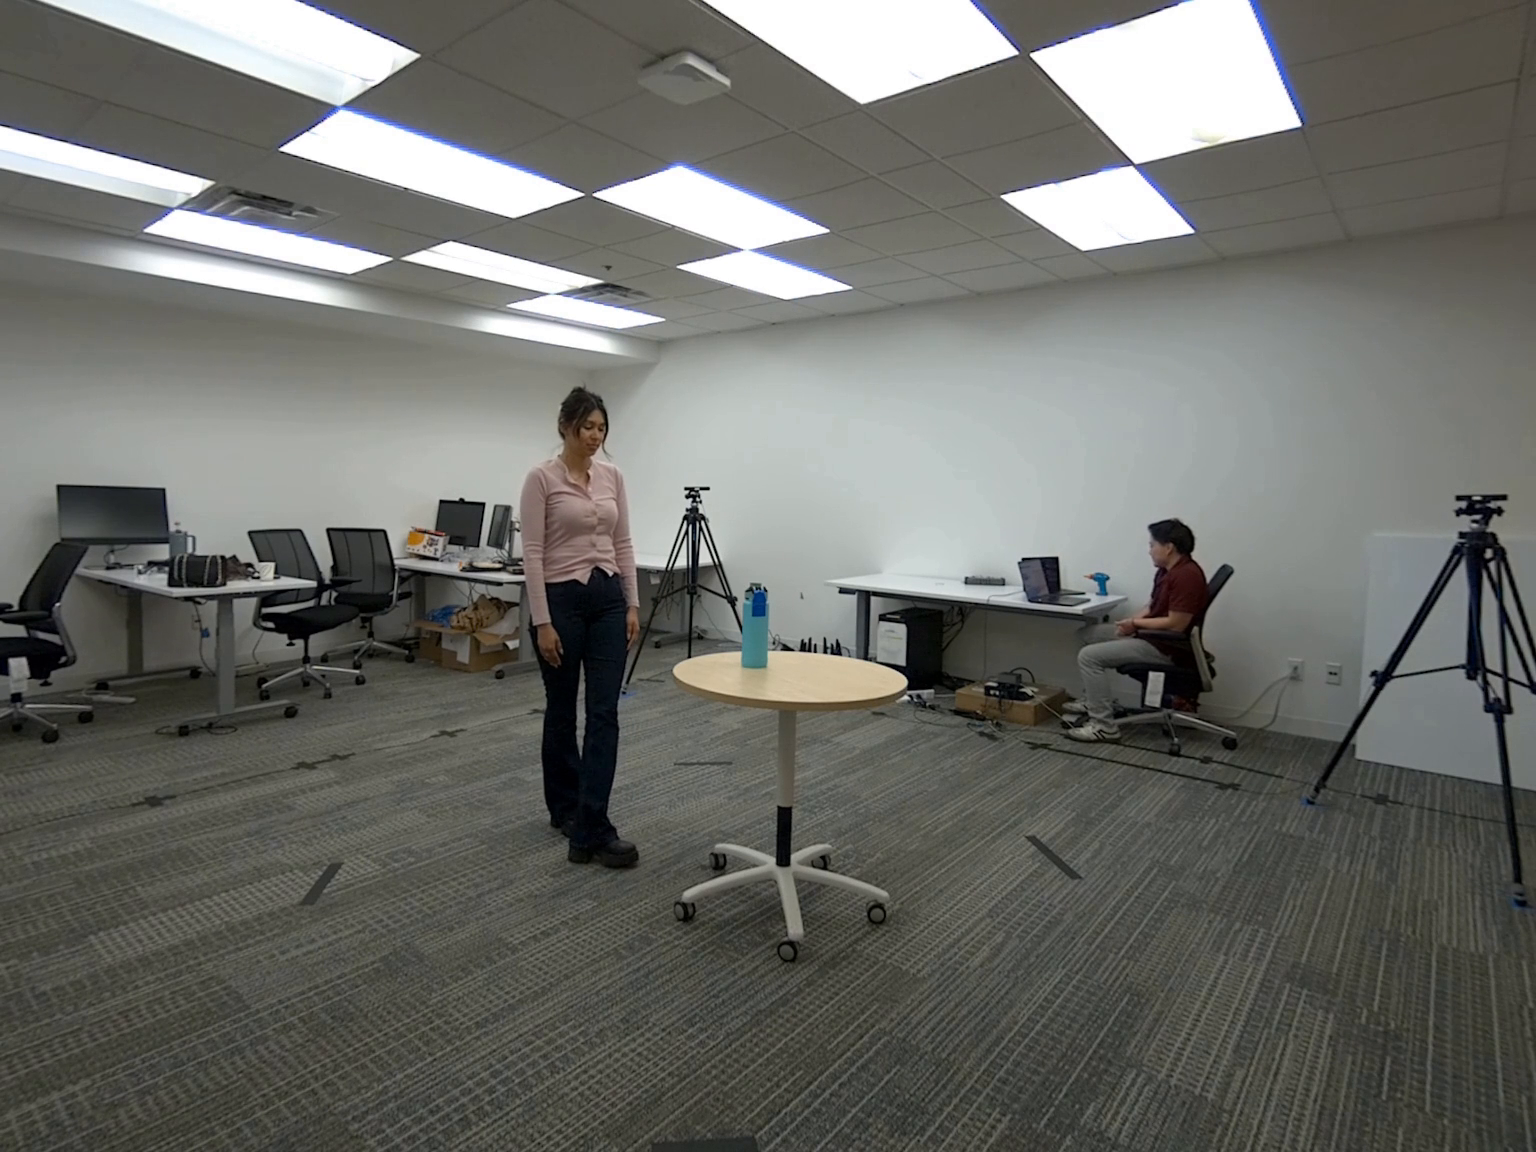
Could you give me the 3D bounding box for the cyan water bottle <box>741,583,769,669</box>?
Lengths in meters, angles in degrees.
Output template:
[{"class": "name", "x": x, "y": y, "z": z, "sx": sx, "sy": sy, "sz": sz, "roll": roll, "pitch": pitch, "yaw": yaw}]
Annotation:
[{"class": "cyan water bottle", "x": -0.047, "y": 0.166, "z": 2.891, "sx": 0.092, "sy": 0.282, "sz": 0.093, "roll": 3, "pitch": 4, "yaw": -2}]
